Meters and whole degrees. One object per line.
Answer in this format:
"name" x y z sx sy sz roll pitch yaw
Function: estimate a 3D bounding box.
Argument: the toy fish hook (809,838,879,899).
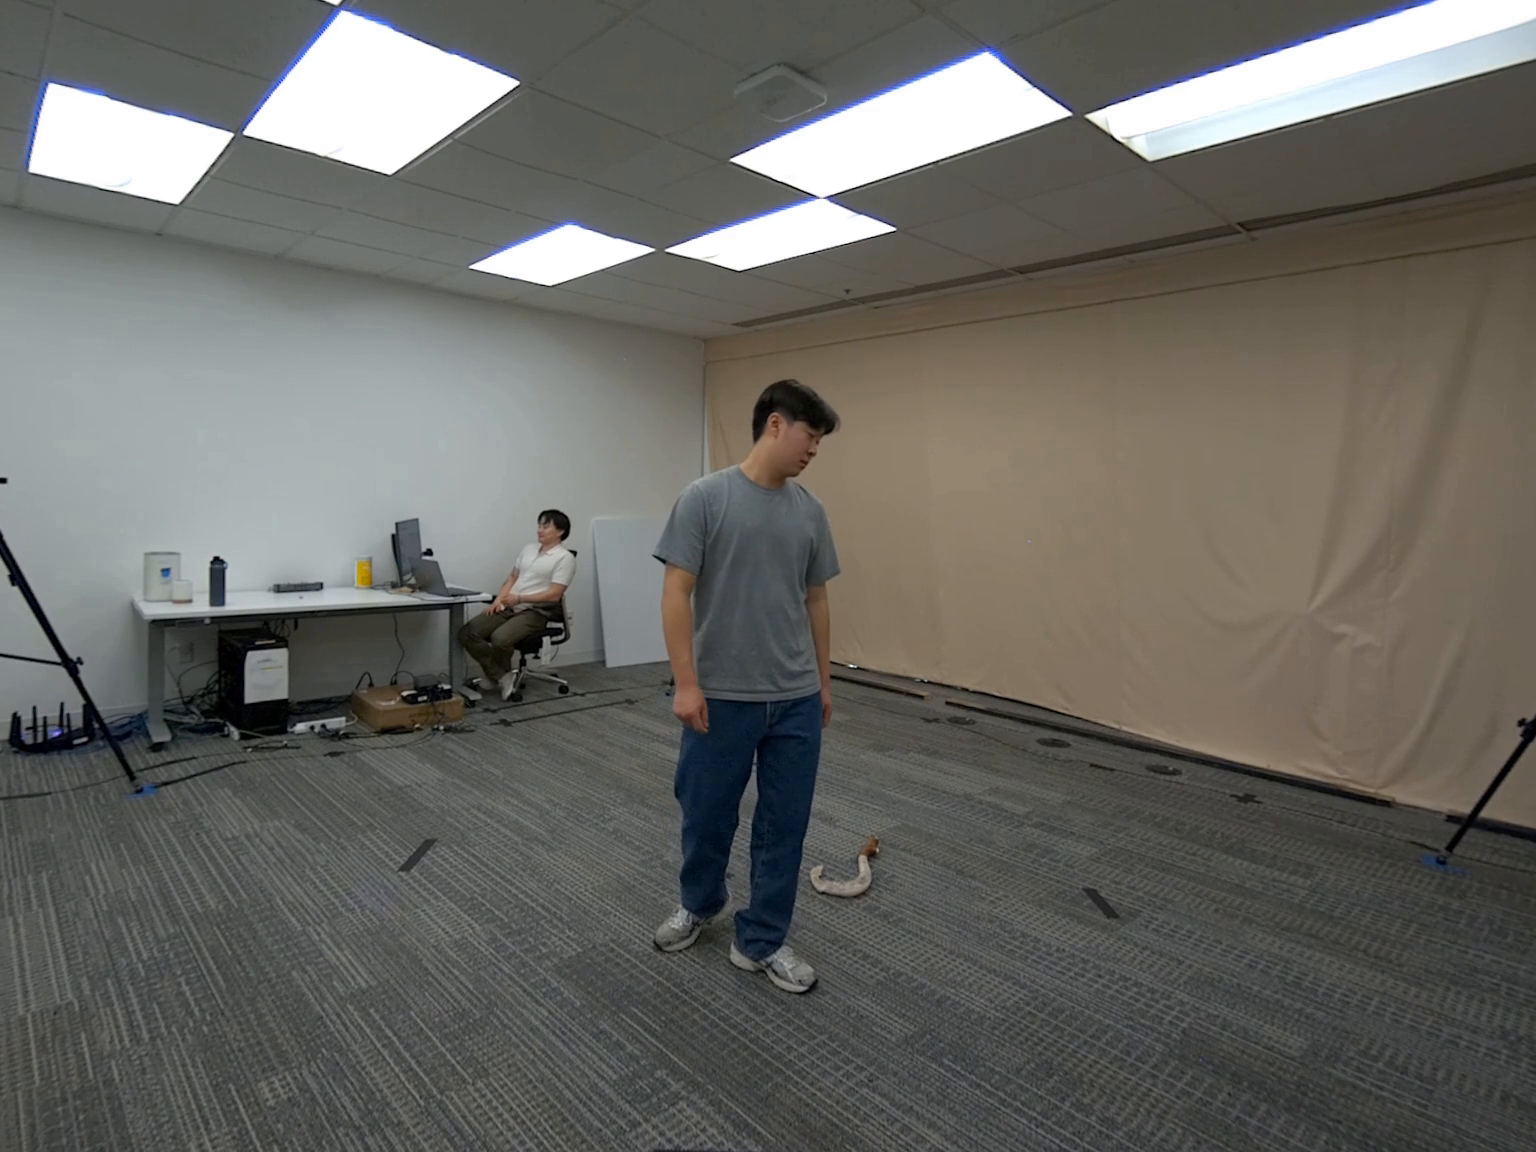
"toy fish hook" 0.295 1.085 3.185 0.228 0.048 0.500 4 5 18
